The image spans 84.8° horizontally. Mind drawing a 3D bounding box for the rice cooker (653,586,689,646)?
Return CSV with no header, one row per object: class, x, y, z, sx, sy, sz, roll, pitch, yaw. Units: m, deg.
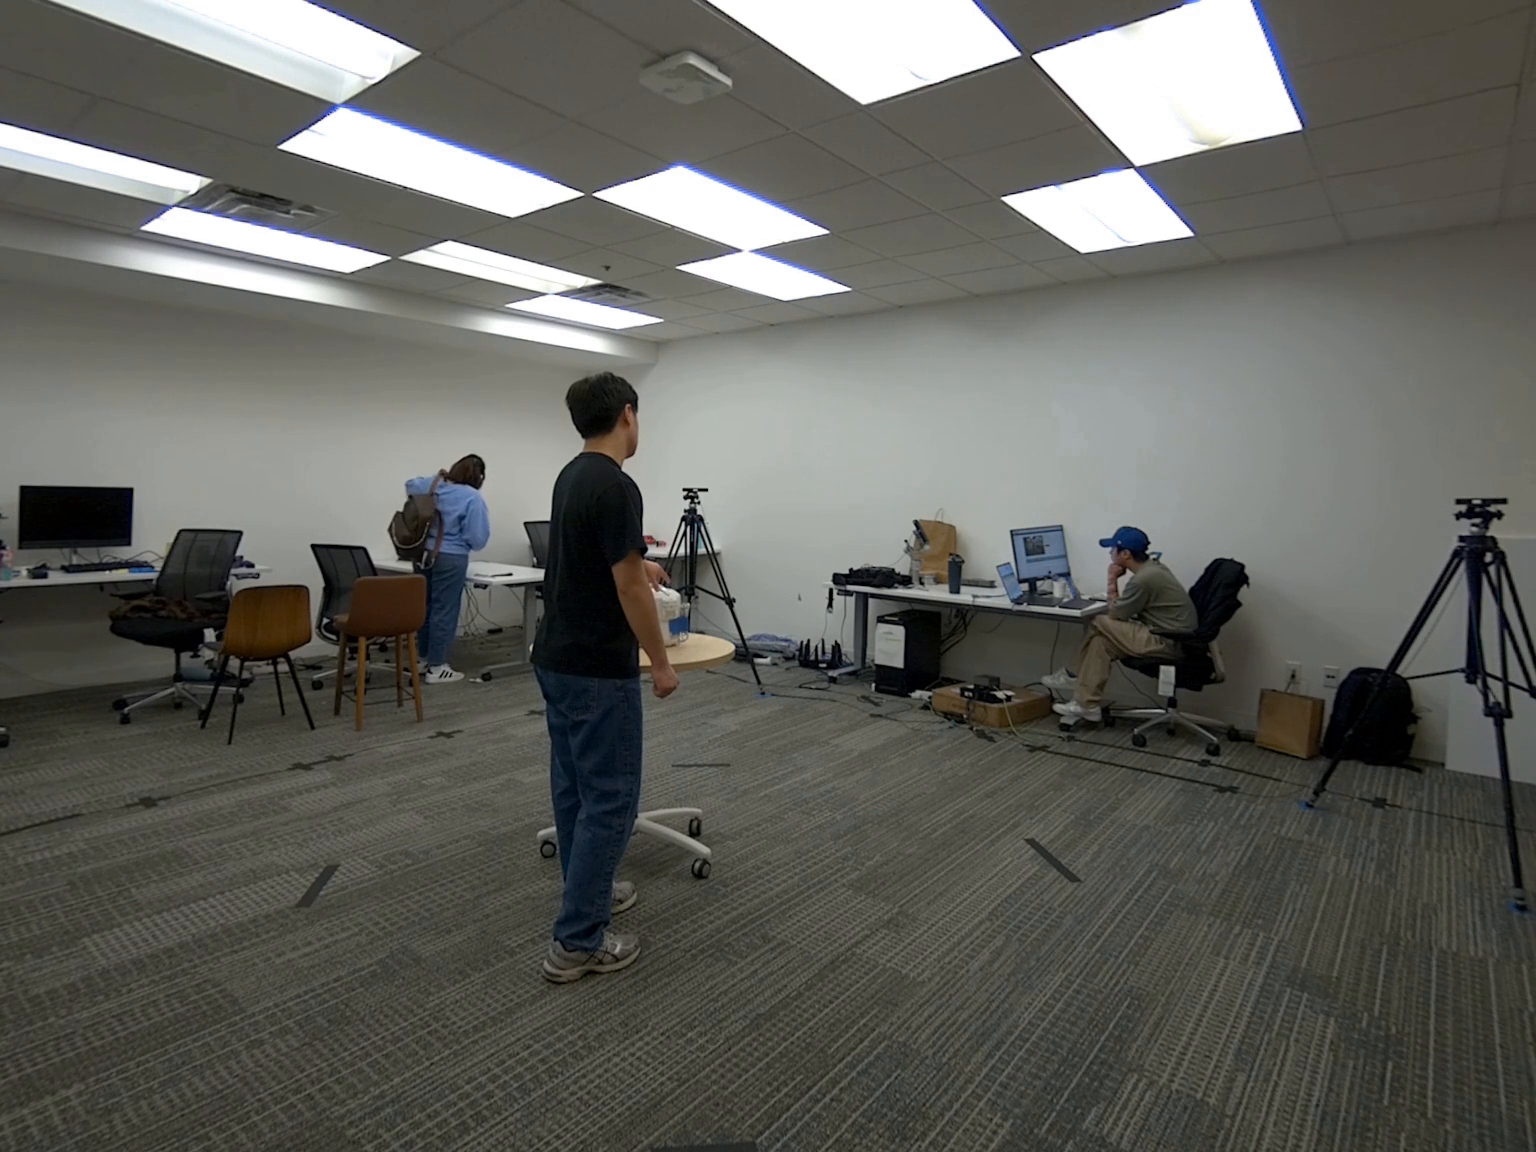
rice cooker,-0.443,0.142,3.229,0.211,0.232,0.228,-2,4,-44
